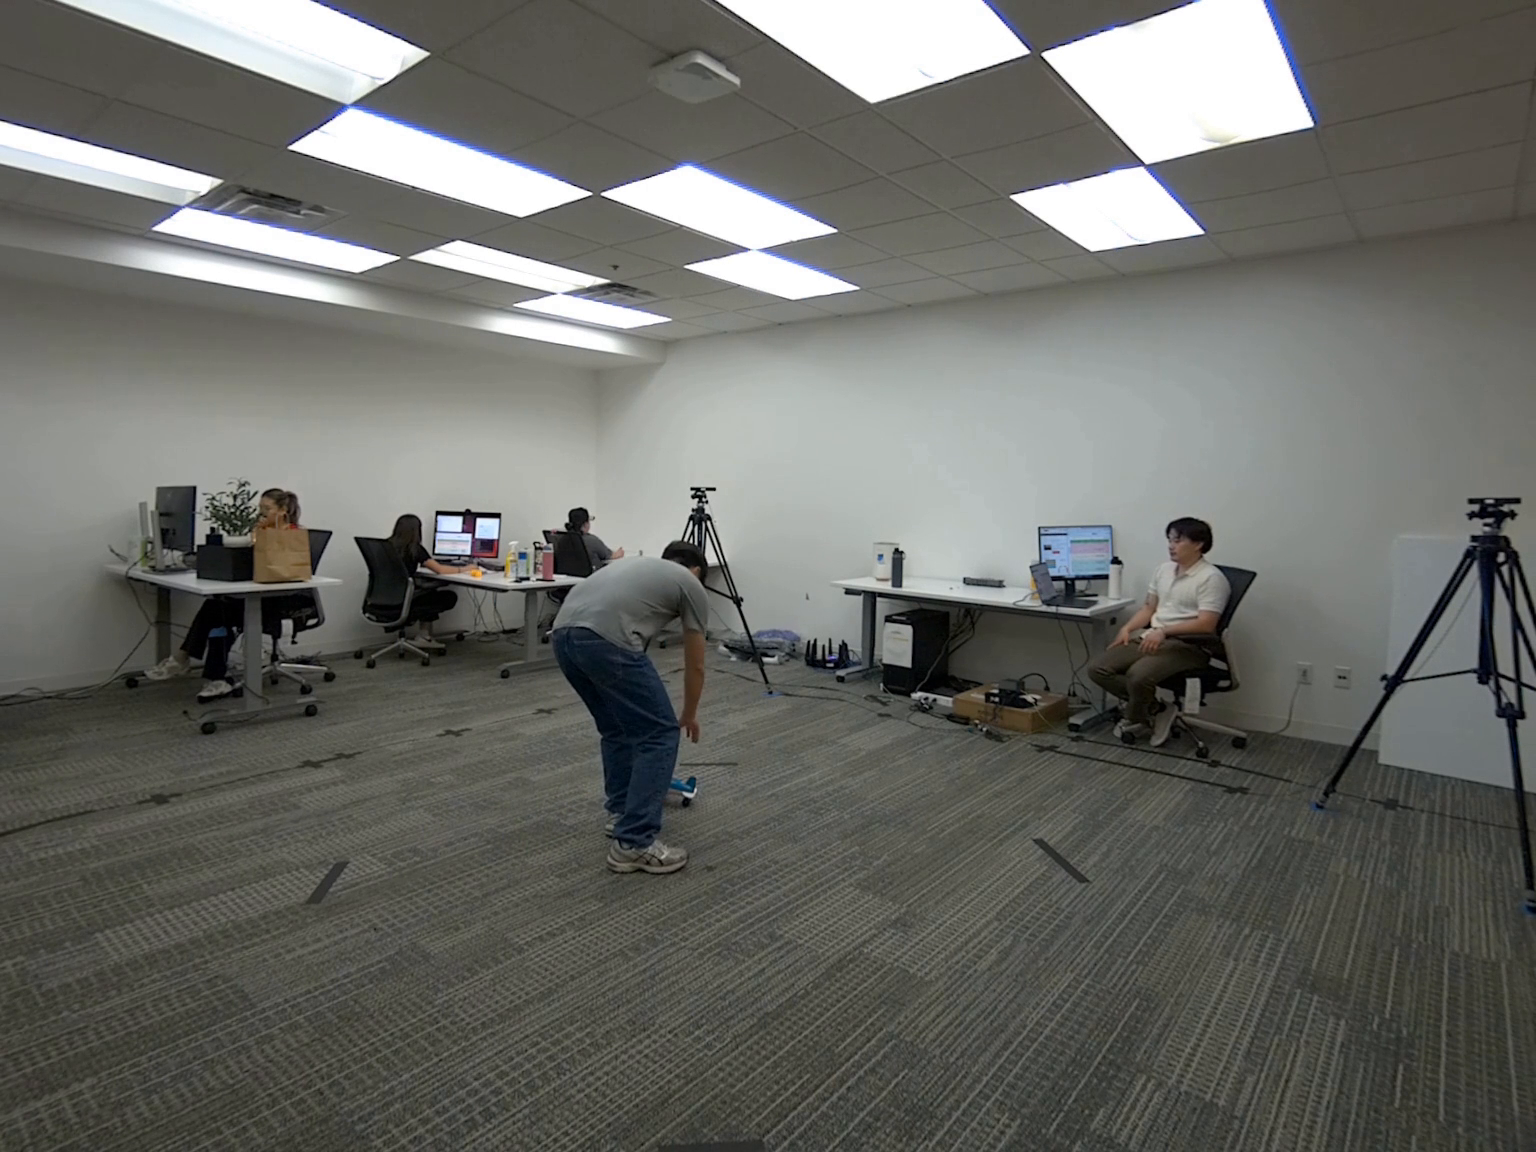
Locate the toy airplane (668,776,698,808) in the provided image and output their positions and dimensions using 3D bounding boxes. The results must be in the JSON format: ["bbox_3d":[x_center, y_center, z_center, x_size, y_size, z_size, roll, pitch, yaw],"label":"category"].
[{"bbox_3d":[-0.457,0.920,3.758,0.254,0.156,0.257,-2,5,-22],"label":"toy airplane"}]
